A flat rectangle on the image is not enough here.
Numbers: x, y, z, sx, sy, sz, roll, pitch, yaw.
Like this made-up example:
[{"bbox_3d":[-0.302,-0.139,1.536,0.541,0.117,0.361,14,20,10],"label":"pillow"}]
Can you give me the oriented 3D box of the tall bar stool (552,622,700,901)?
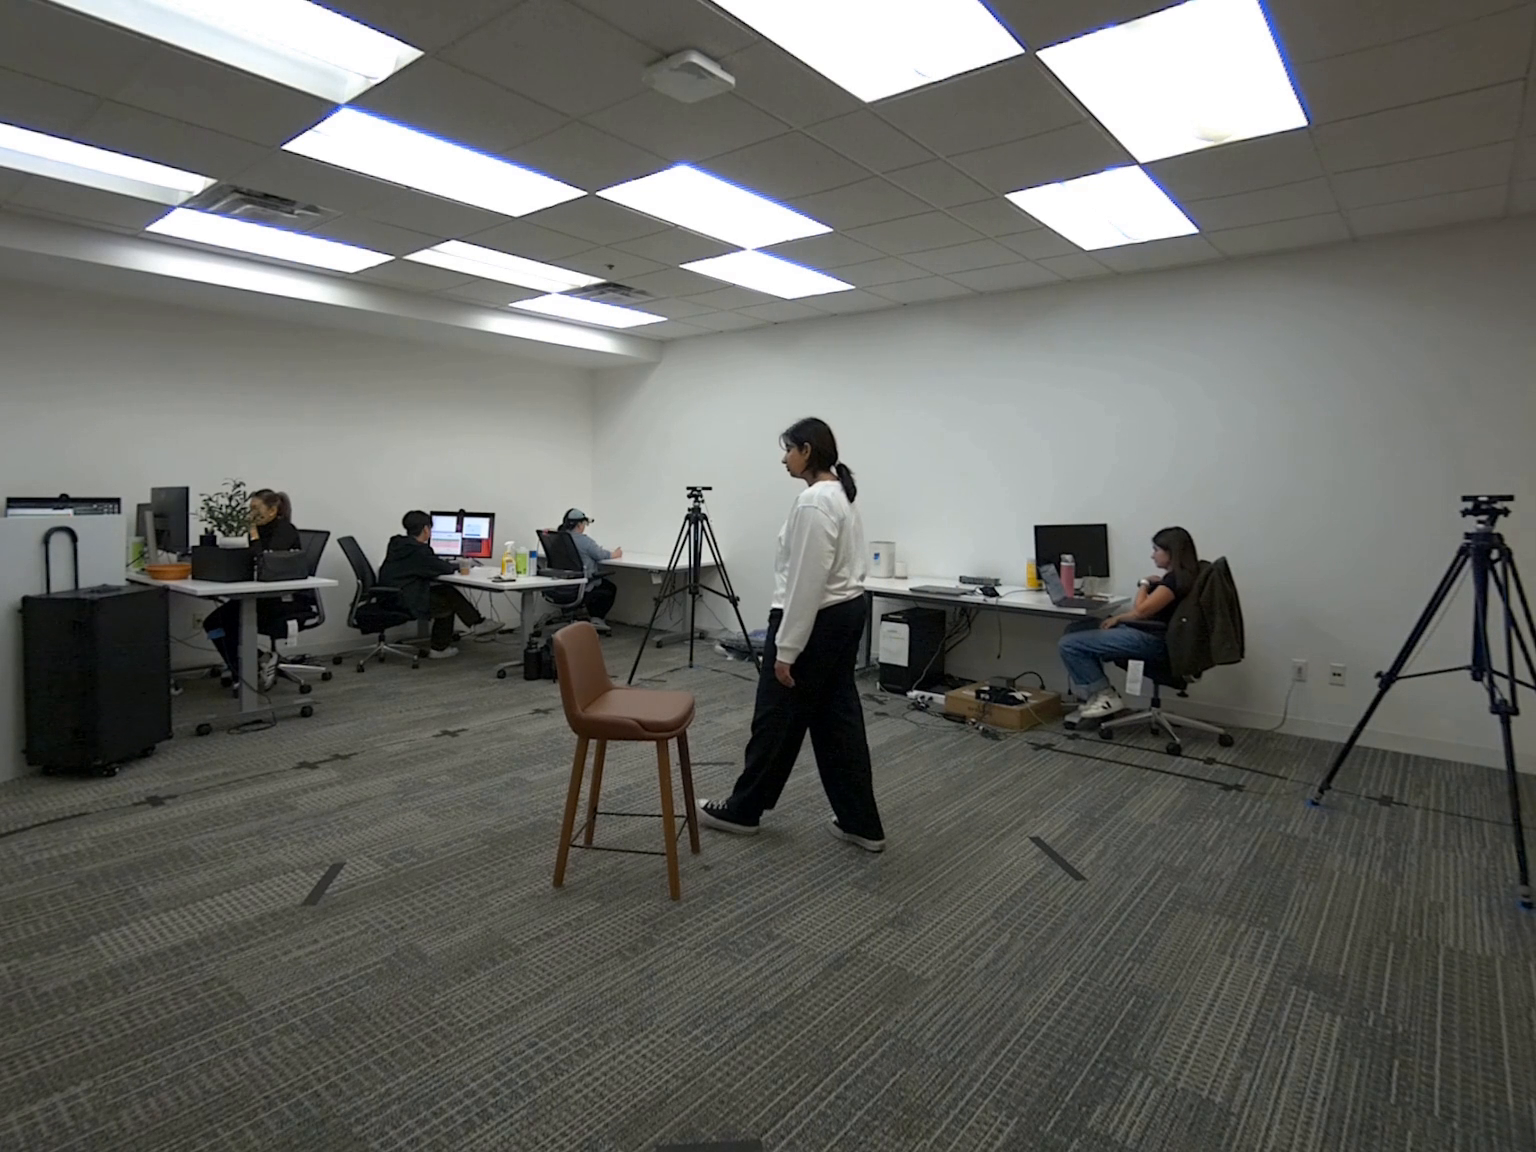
[{"bbox_3d":[-0.504,0.629,3.068,0.472,0.887,0.453,-1,3,8],"label":"tall bar stool"}]
